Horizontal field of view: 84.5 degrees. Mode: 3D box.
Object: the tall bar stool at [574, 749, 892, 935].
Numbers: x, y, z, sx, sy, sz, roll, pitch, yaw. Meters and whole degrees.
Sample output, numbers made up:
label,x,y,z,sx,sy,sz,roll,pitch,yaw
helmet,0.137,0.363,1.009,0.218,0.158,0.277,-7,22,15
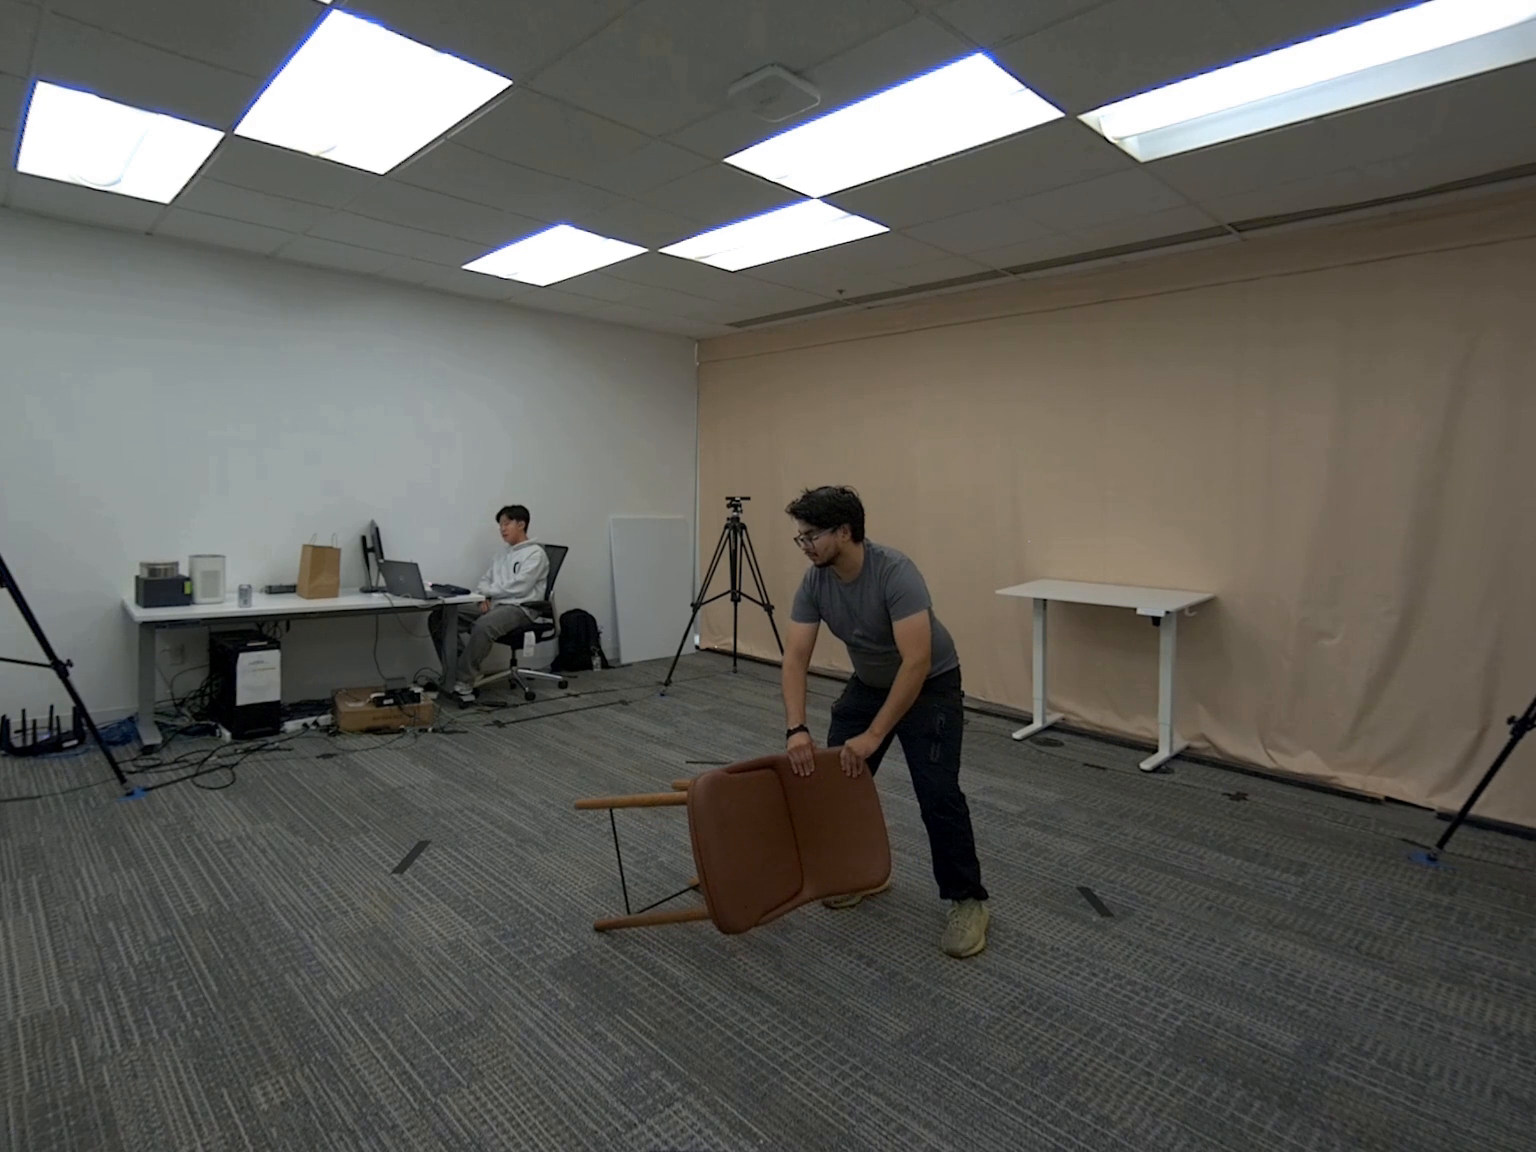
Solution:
label,x,y,z,sx,sy,sz,roll,pitch,yaw
tall bar stool,-0.142,0.825,2.603,0.902,0.461,0.456,-20,-14,39
